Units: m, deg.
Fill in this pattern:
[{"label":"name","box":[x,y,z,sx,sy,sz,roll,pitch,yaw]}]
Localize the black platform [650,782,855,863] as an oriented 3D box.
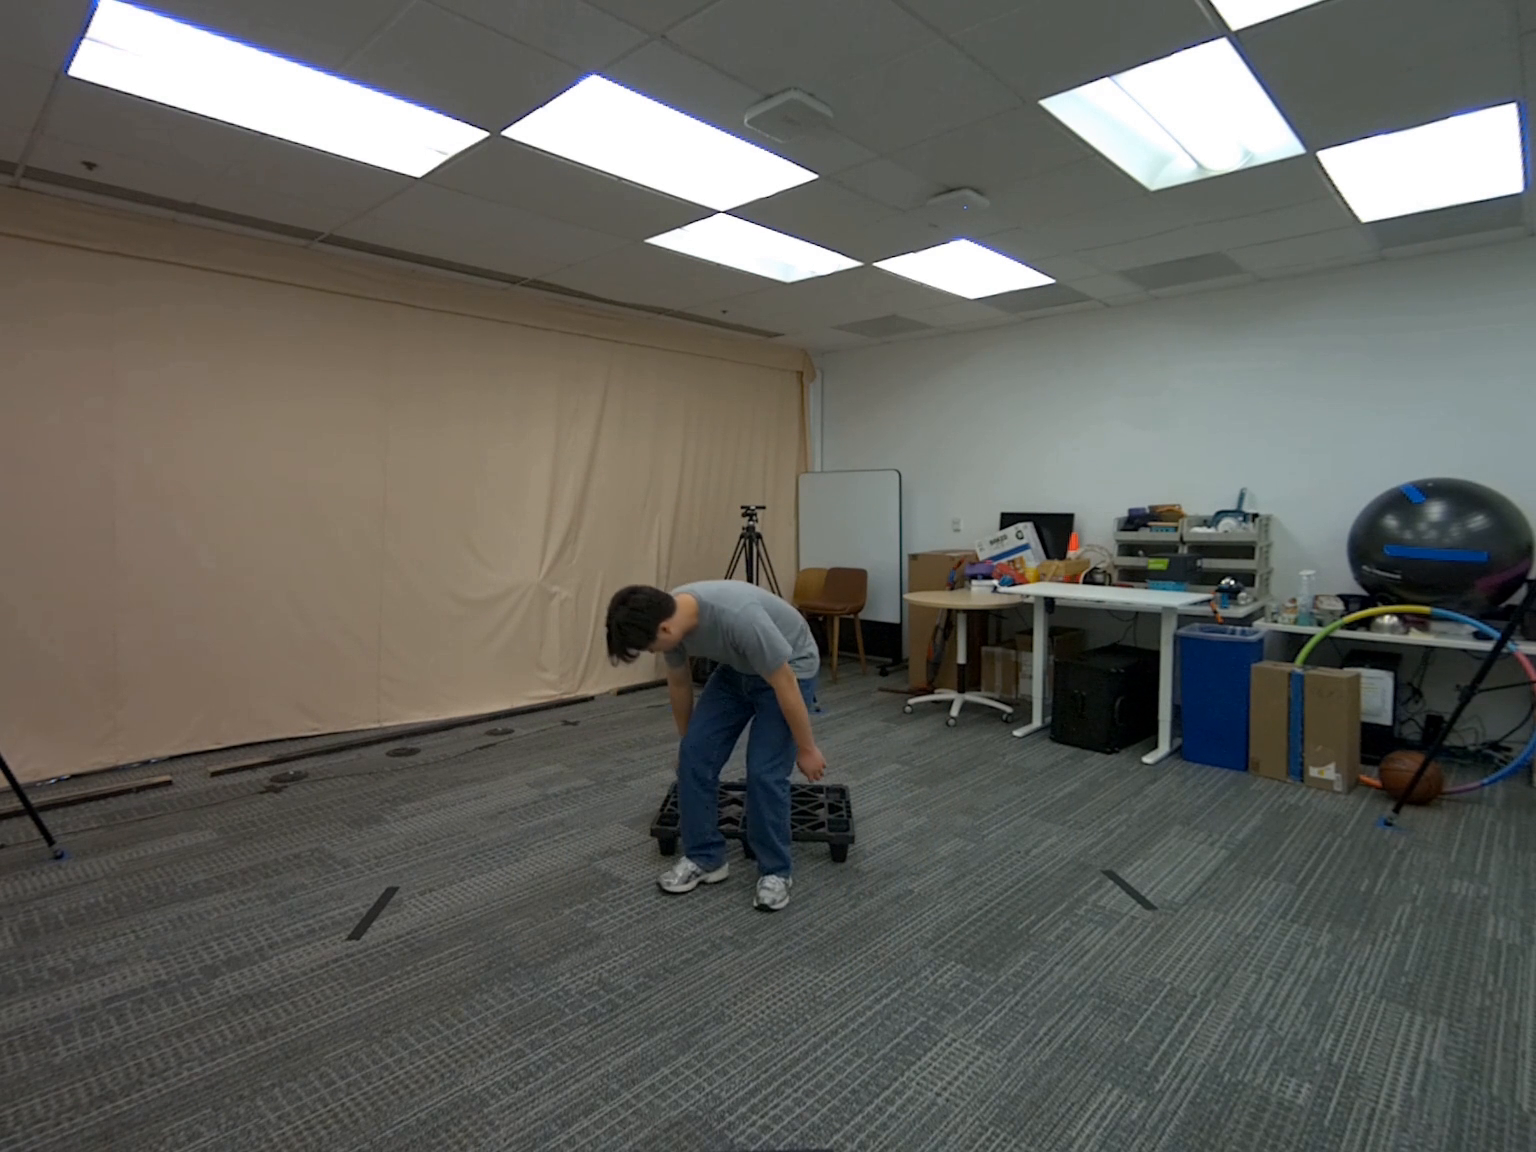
[{"label":"black platform","box":[-0.046,1.026,3.539,0.811,0.143,0.603,0,5,5]}]
